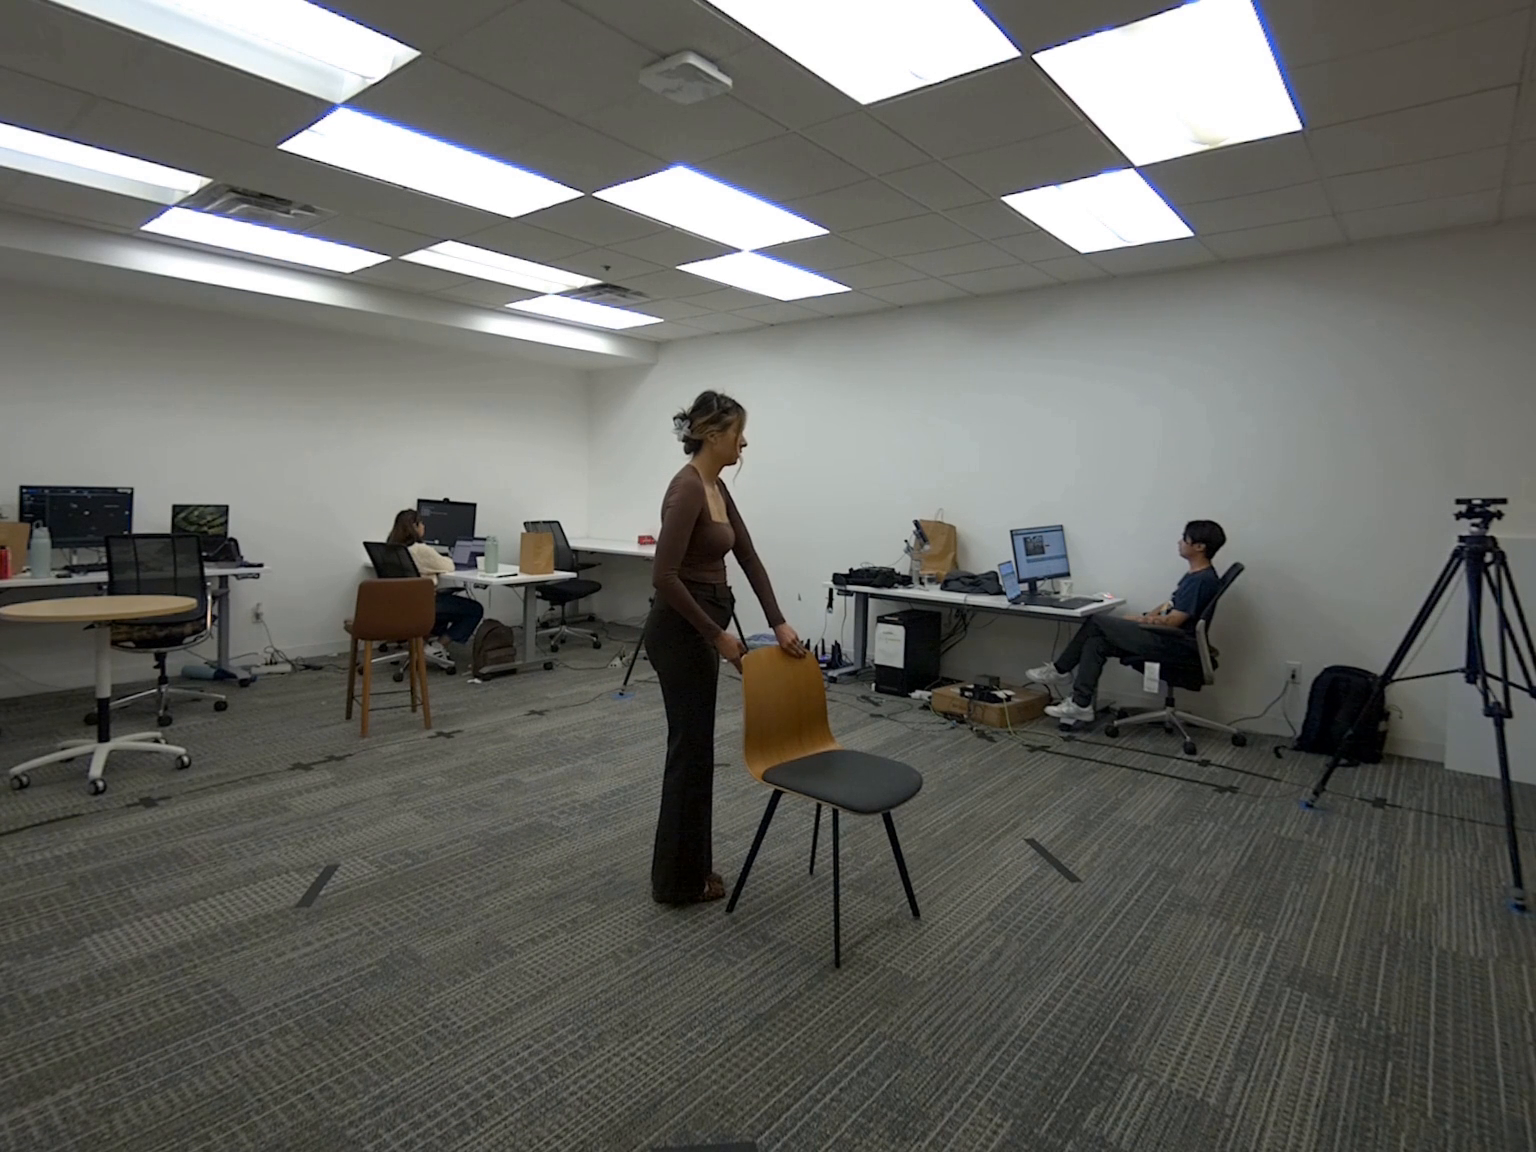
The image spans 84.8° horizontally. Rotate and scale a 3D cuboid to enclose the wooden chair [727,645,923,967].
[{"bbox_3d":[0.196,0.686,2.762,0.539,0.878,0.463,-2,0,43],"label":"wooden chair"}]
